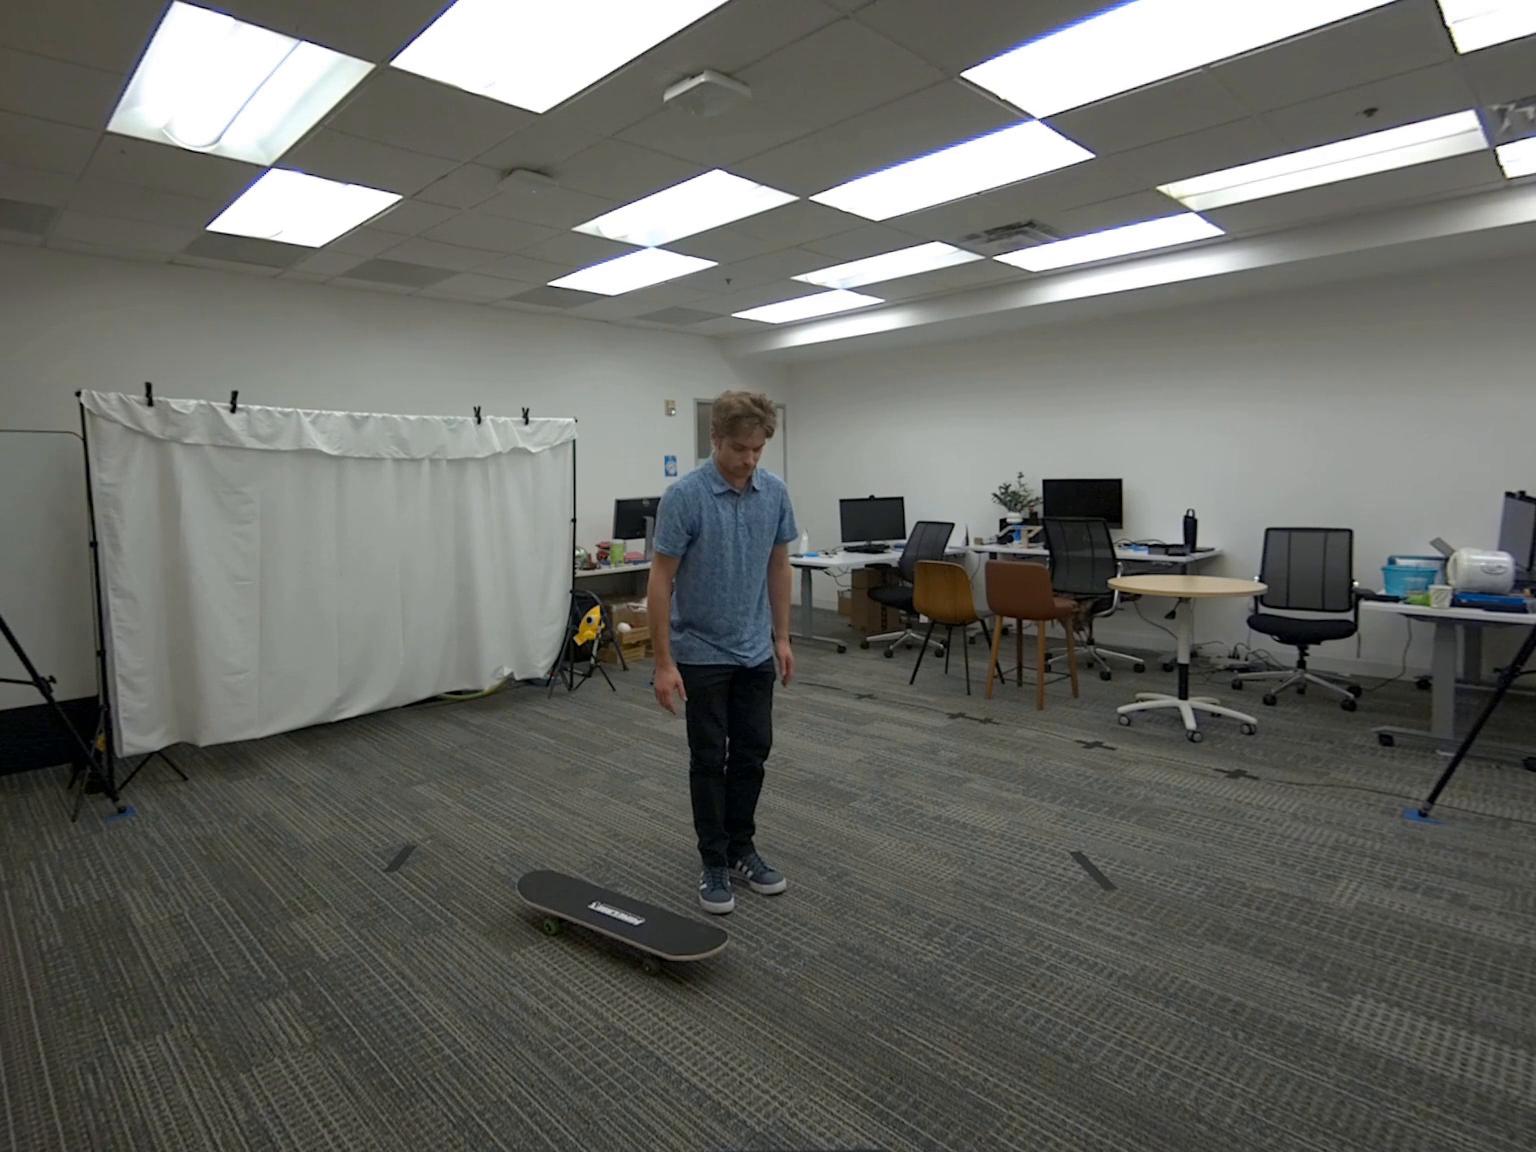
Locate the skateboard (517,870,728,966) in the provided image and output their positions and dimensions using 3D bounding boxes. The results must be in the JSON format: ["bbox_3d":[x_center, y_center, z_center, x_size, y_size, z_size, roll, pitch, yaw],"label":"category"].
[{"bbox_3d":[-0.456,1.058,2.589,0.807,0.110,0.189,3,8,33],"label":"skateboard"}]
